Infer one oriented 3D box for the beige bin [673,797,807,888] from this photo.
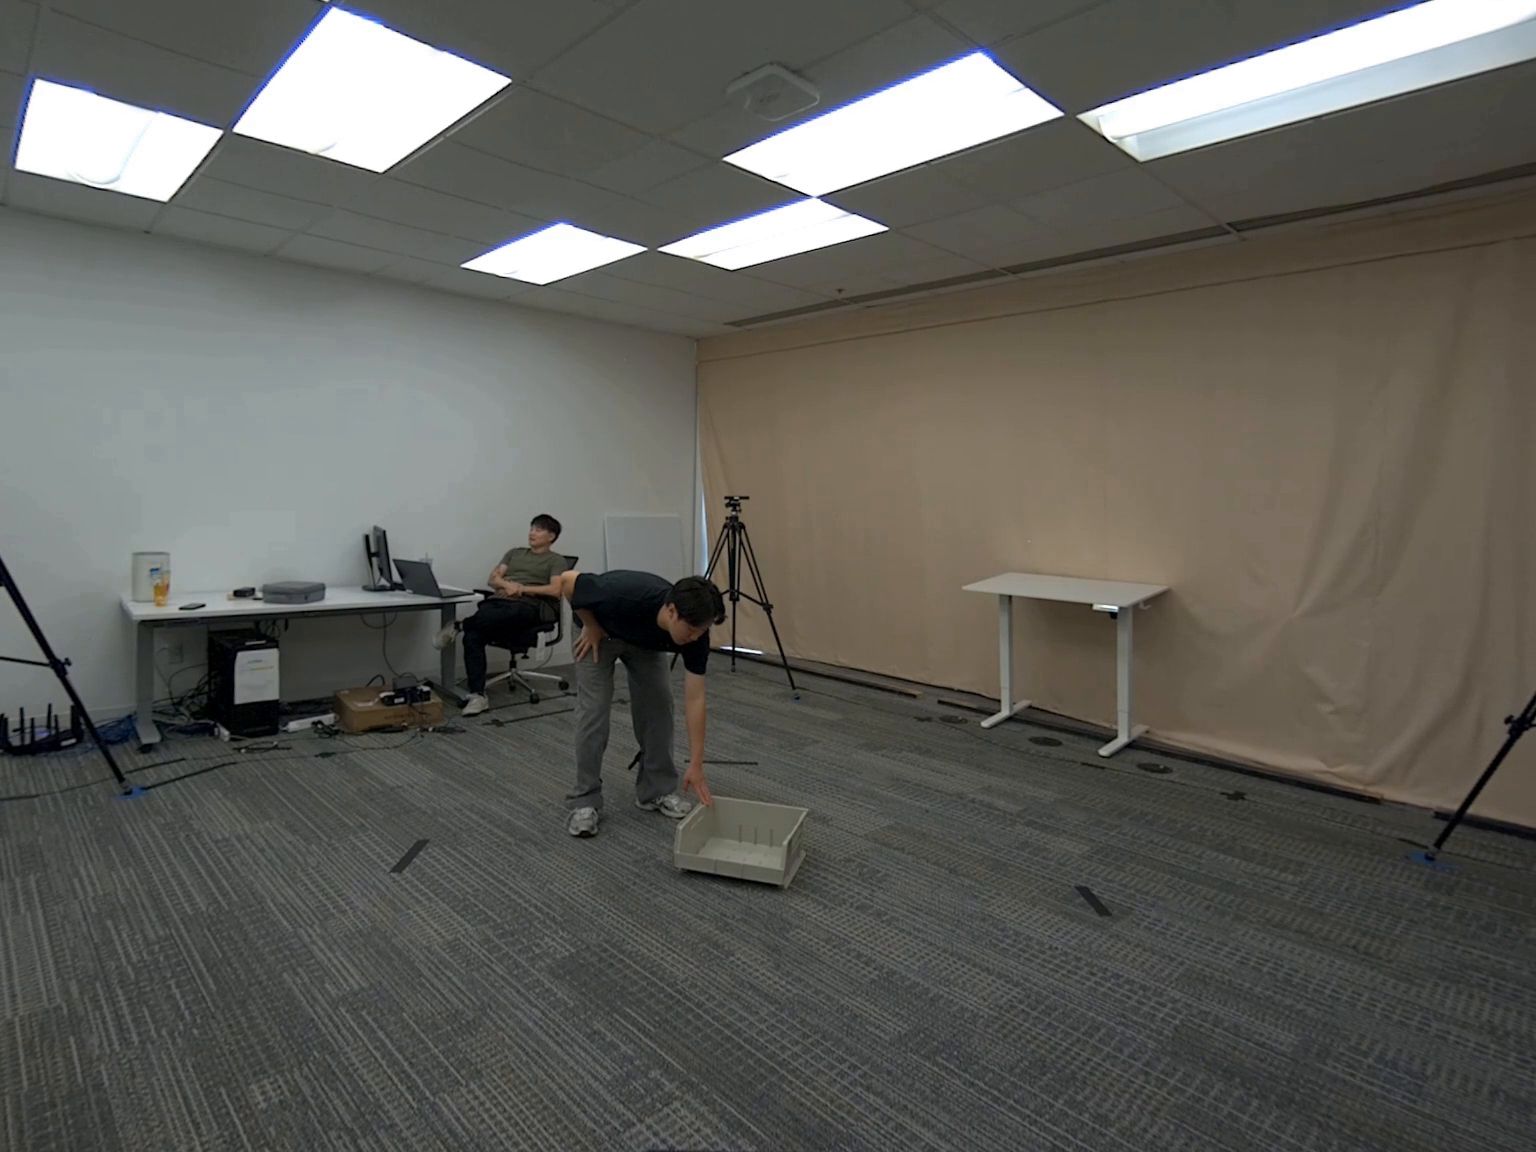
[{"bbox_3d":[-0.098,1.011,3.187,0.428,0.188,0.373,2,4,16],"label":"beige bin"}]
